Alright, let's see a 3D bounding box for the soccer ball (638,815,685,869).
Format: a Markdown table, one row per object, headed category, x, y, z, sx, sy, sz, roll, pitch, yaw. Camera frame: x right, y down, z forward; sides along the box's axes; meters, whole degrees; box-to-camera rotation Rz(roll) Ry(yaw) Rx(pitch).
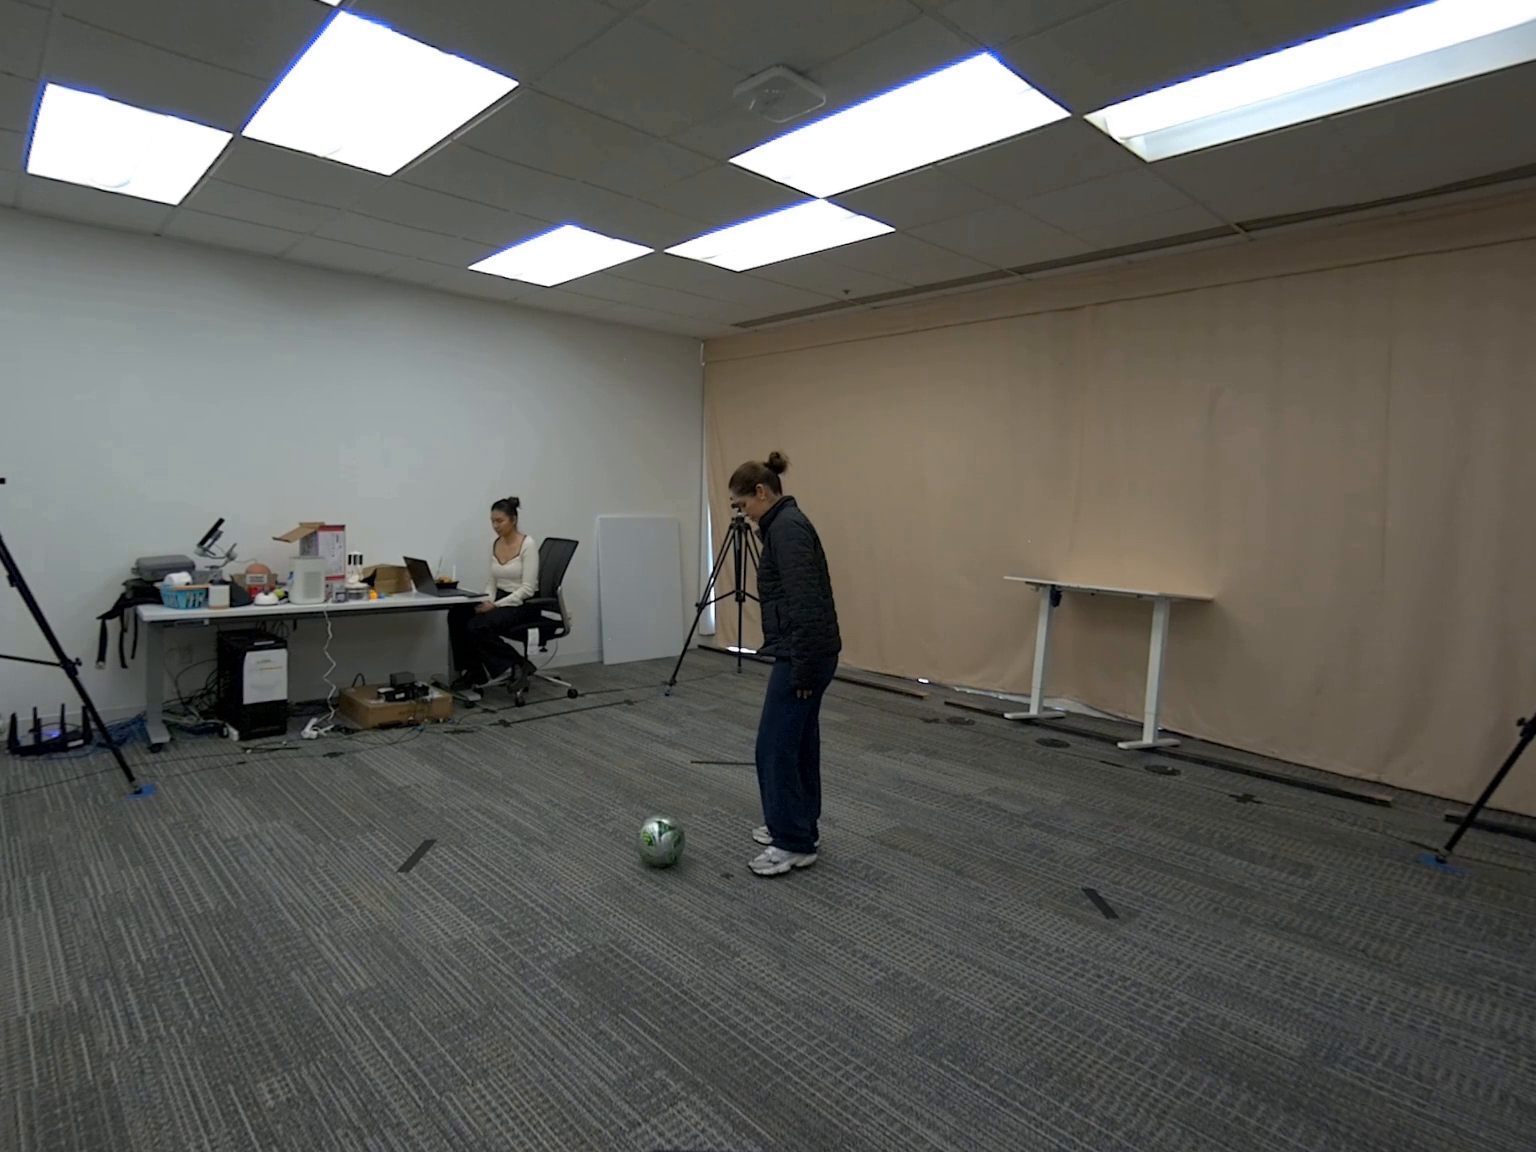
| category | x | y | z | sx | sy | sz | roll | pitch | yaw |
| --- | --- | --- | --- | --- | --- | --- | --- | --- | --- |
| soccer ball | -0.412 | 0.996 | 3.183 | 0.187 | 0.187 | 0.188 | 1 | 4 | -1 |
